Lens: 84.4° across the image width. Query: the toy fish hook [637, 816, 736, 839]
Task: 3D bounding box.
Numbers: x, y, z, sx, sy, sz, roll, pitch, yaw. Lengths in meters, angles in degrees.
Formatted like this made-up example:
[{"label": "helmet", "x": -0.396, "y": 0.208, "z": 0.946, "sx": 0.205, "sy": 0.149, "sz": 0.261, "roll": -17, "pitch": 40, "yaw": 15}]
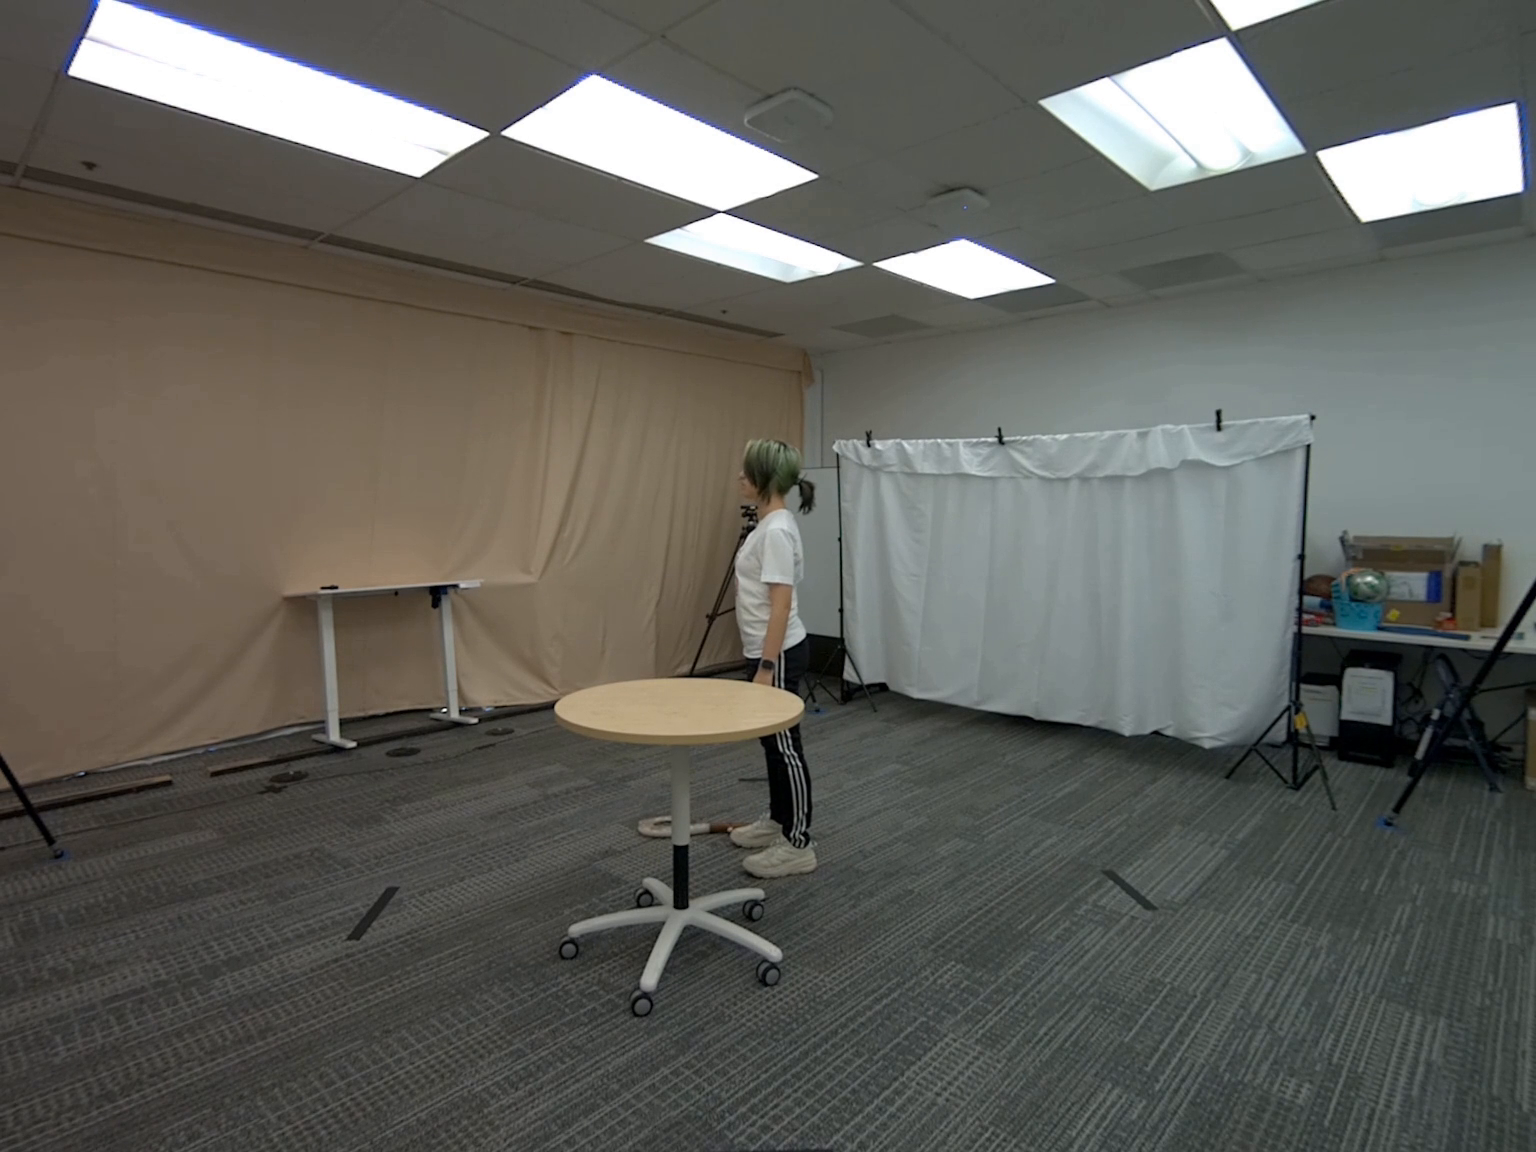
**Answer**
[{"label": "toy fish hook", "x": -0.308, "y": 1.073, "z": 3.635, "sx": 0.506, "sy": 0.048, "sz": 0.226, "roll": 0, "pitch": 6, "yaw": -2}]
